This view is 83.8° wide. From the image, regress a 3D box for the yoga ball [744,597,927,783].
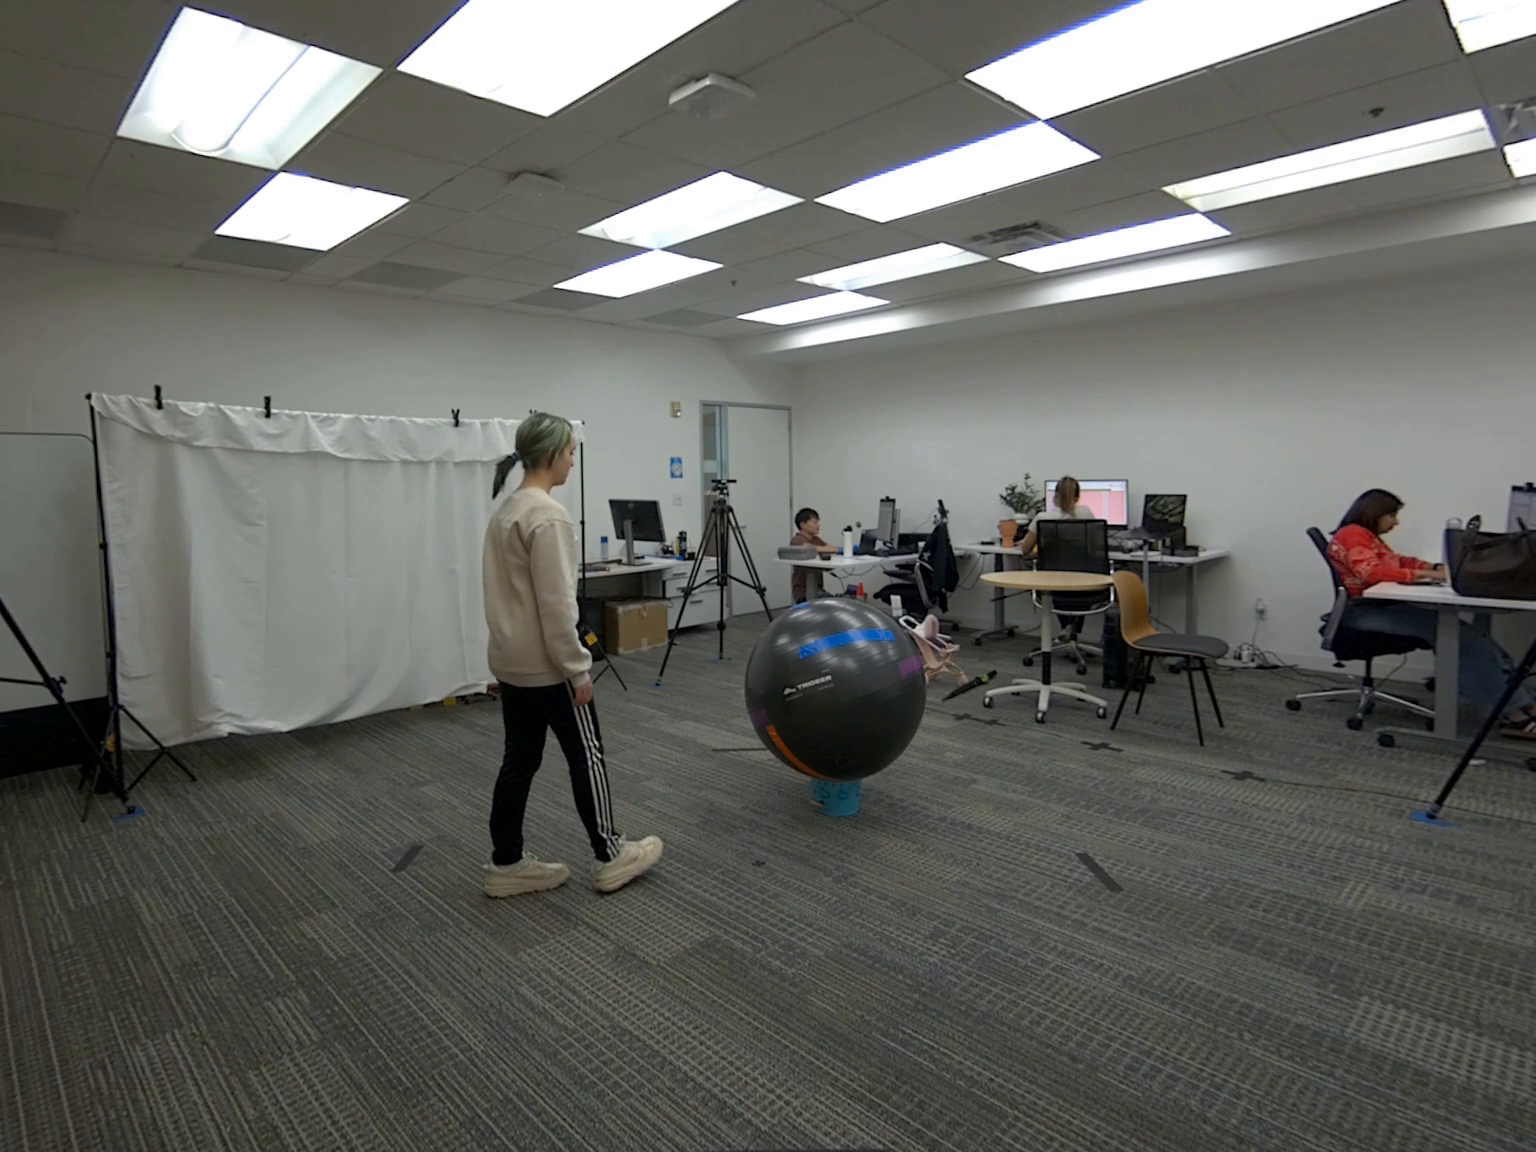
[{"bbox_3d":[0.277,0.472,3.602,0.757,0.755,0.762,-1,5,-2],"label":"yoga ball"}]
